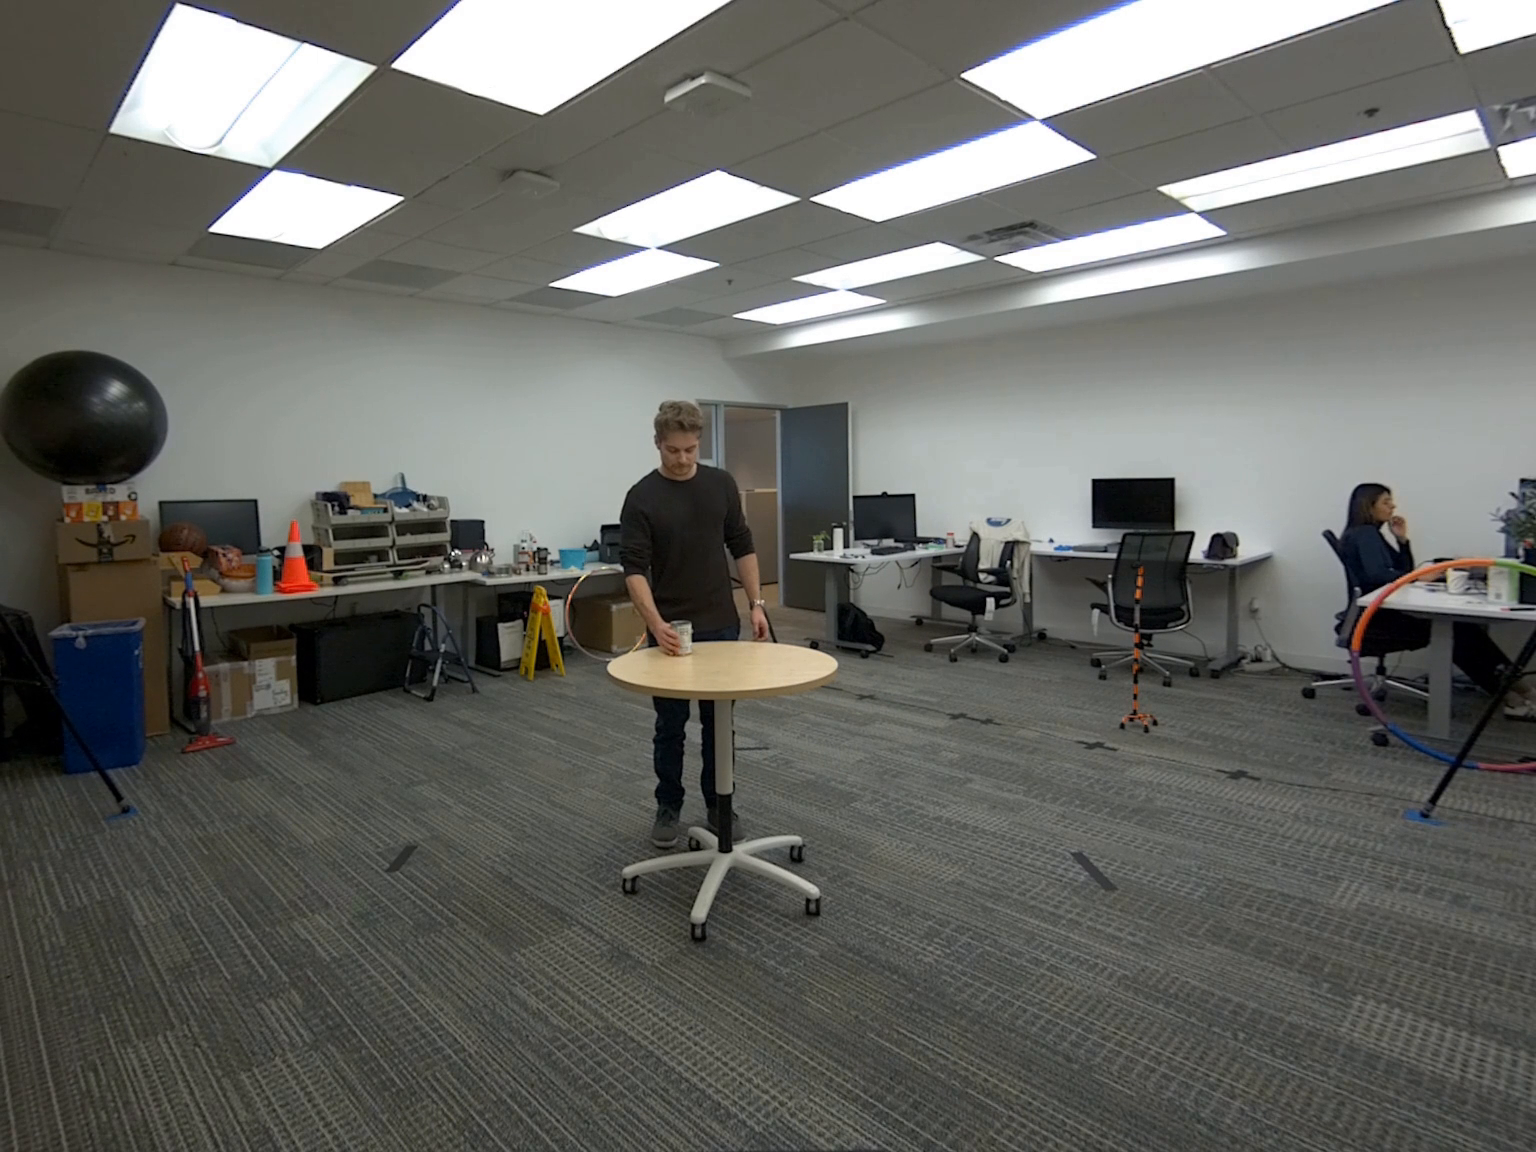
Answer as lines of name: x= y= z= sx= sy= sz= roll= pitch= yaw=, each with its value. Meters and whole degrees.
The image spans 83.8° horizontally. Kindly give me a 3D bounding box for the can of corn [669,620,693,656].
can of corn: x=-0.312 y=0.222 z=3.009 sx=0.074 sy=0.111 sz=0.074 roll=-2 pitch=4 yaw=-2
